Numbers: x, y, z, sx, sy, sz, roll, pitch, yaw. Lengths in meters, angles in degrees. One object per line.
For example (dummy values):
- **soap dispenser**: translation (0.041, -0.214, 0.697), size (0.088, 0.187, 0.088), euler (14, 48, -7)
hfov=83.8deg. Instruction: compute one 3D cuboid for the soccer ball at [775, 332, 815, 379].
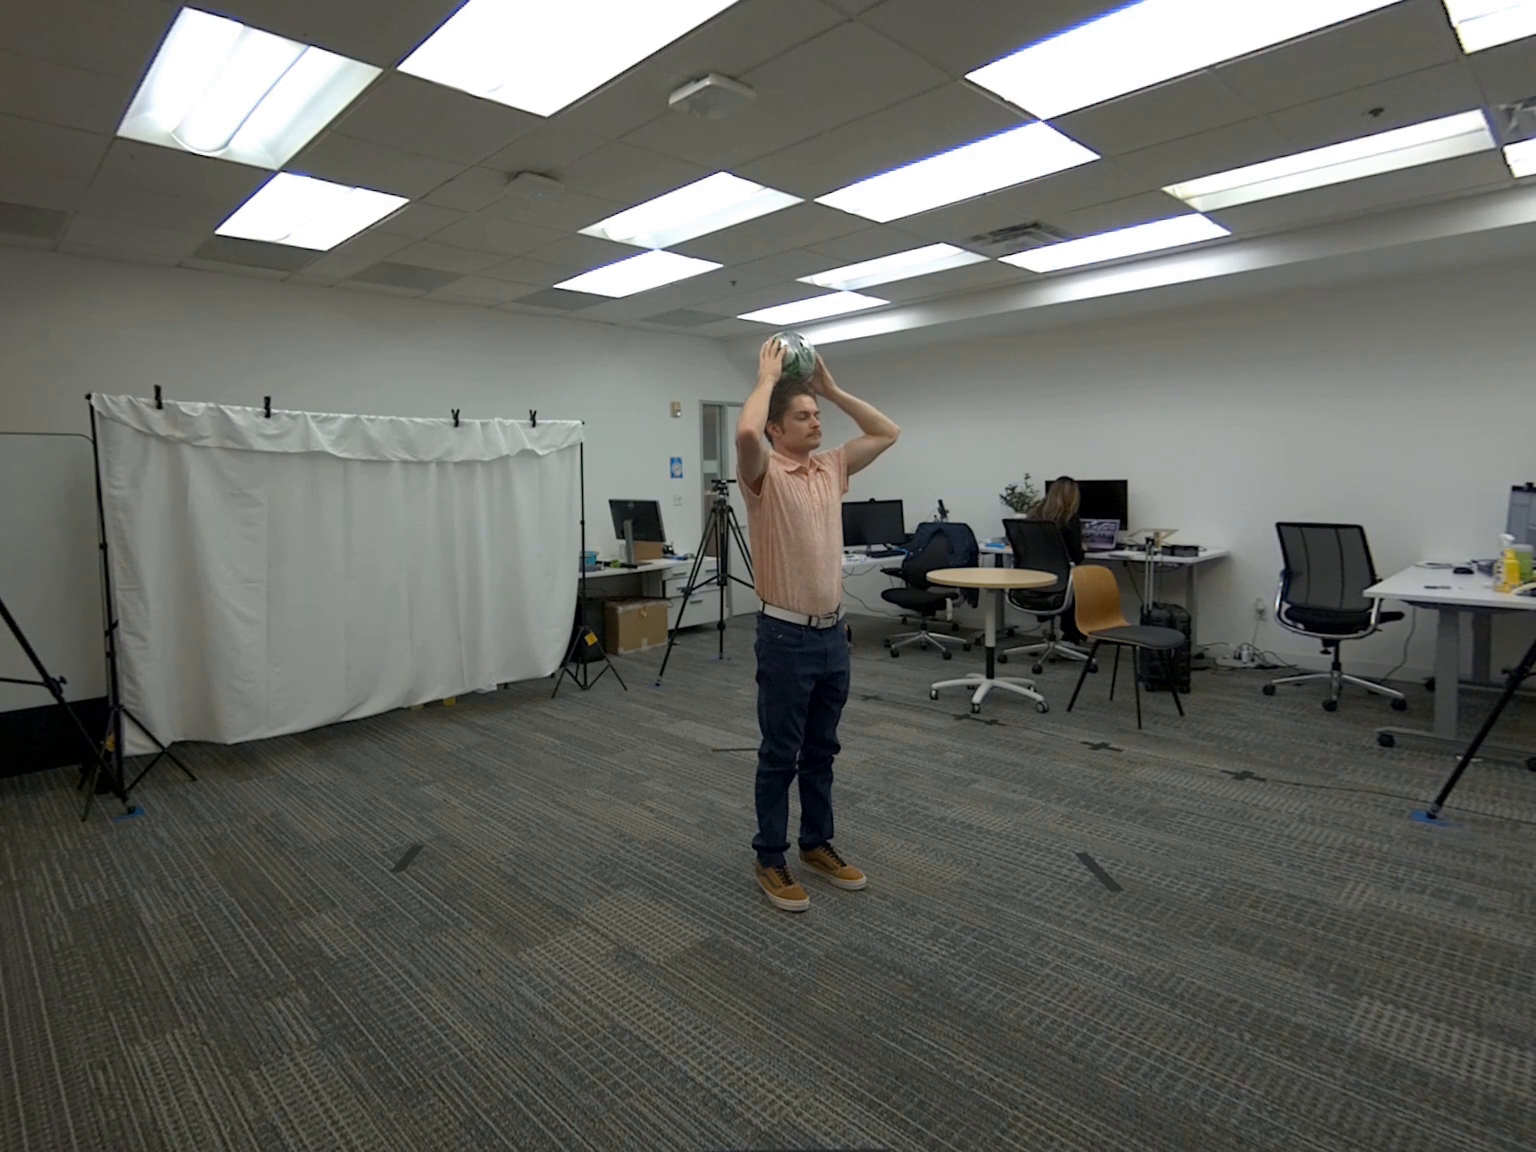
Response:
- **soccer ball**: translation (0.071, -0.722, 2.869), size (0.187, 0.187, 0.188), euler (-1, 5, -2)
